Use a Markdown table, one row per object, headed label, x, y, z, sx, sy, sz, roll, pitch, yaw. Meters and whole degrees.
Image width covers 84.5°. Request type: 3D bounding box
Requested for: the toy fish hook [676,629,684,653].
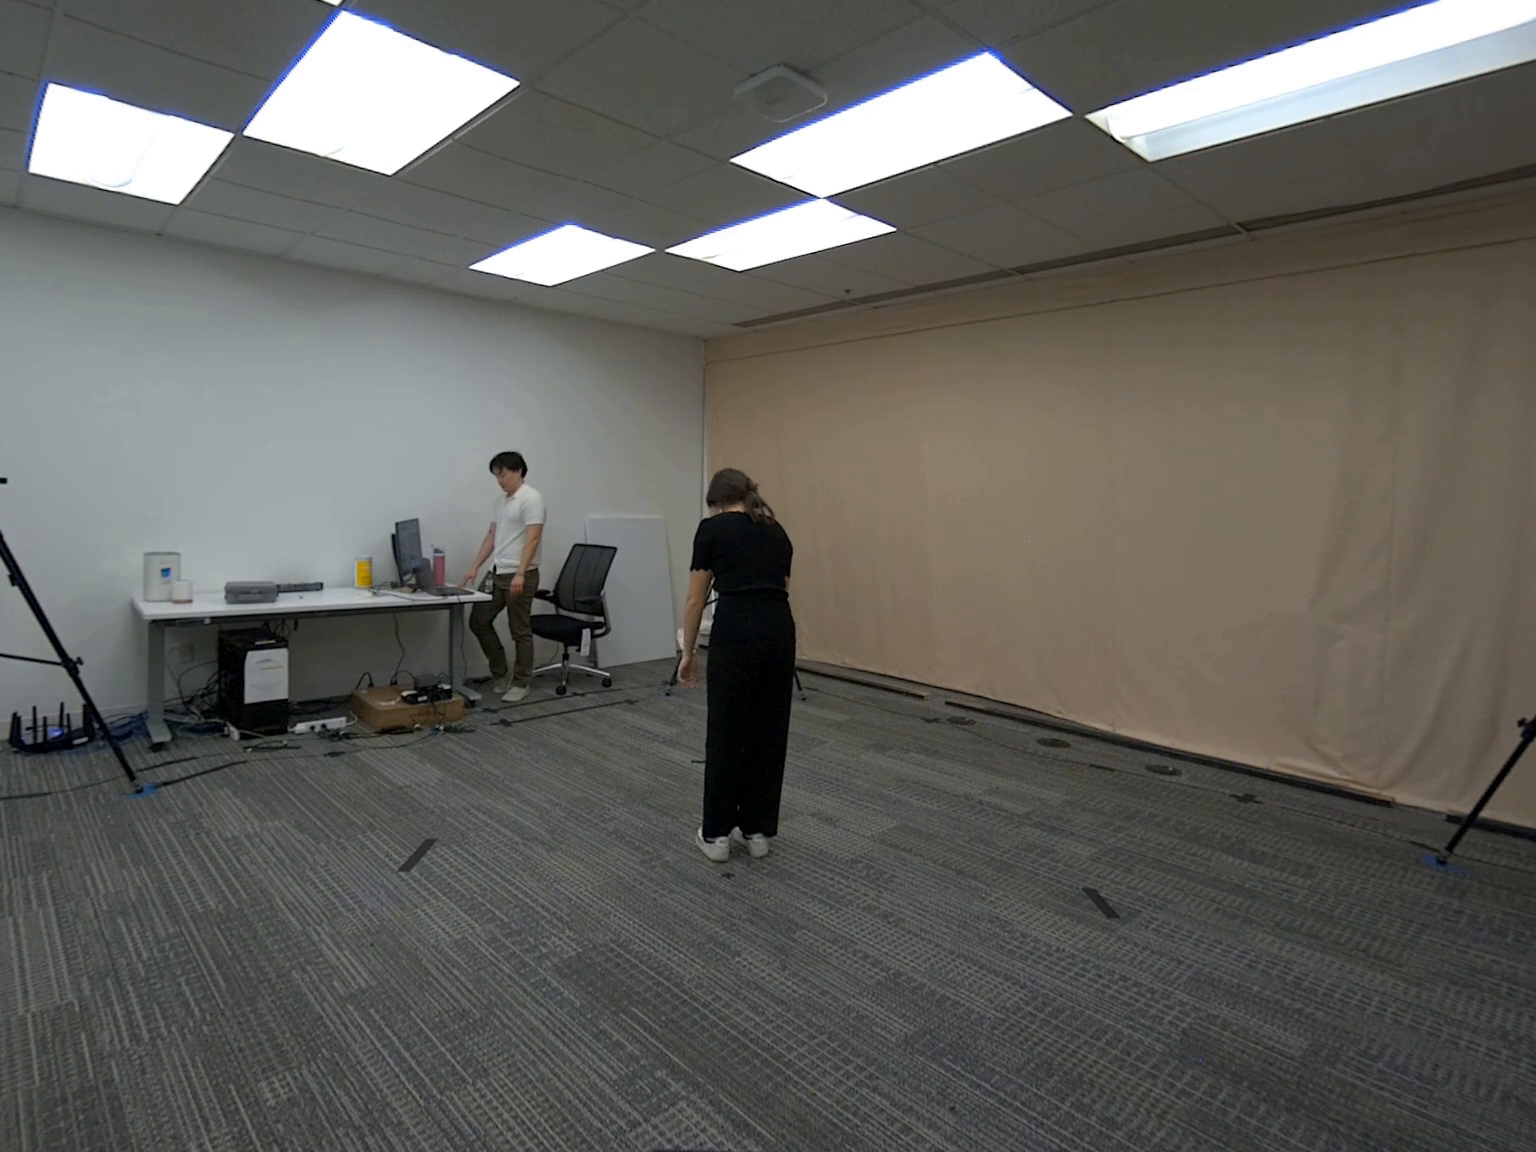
| label | x | y | z | sx | sy | sz | roll | pitch | yaw |
| --- | --- | --- | --- | --- | --- | --- | --- | --- | --- |
| toy fish hook | -0.222 | 0.331 | 3.648 | 0.222 | 0.047 | 0.523 | -28 | 35 | -27 |
